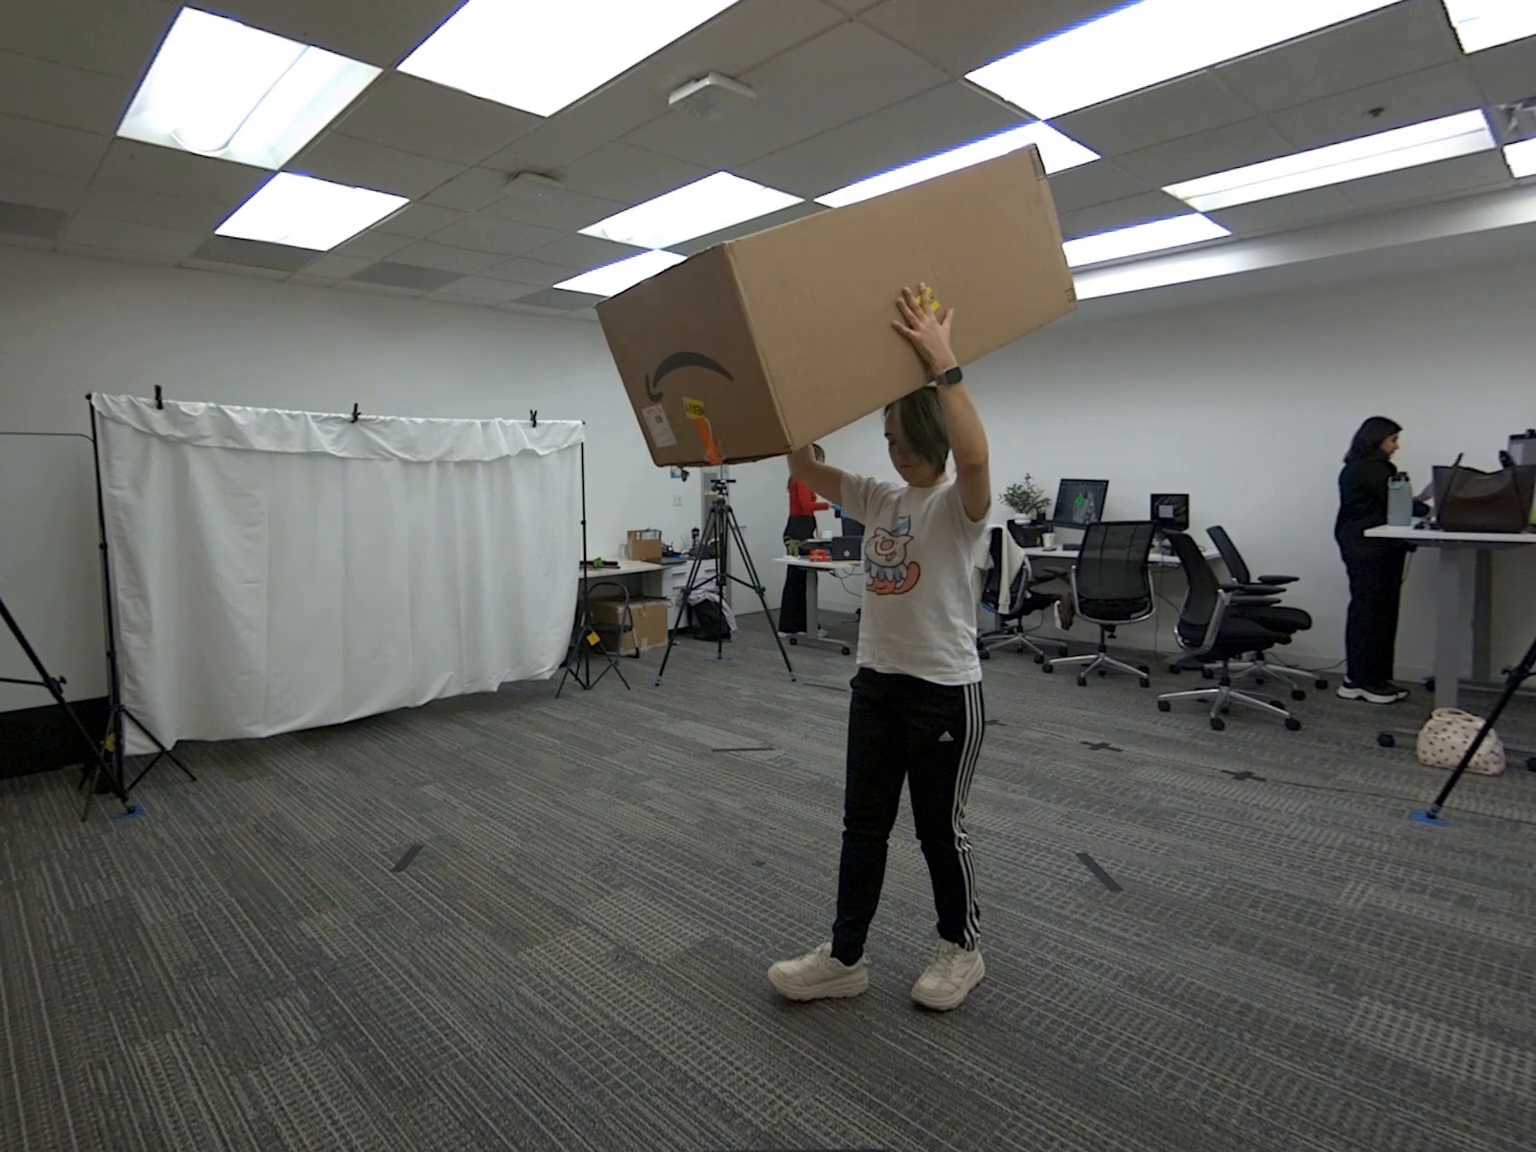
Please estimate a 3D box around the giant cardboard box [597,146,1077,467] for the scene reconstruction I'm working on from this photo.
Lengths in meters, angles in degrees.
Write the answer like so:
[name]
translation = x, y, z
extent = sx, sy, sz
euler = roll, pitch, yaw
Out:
[giant cardboard box]
translation = 0.186, -0.665, 2.134
extent = 1.017, 0.438, 0.601
euler = -31, 21, -30
